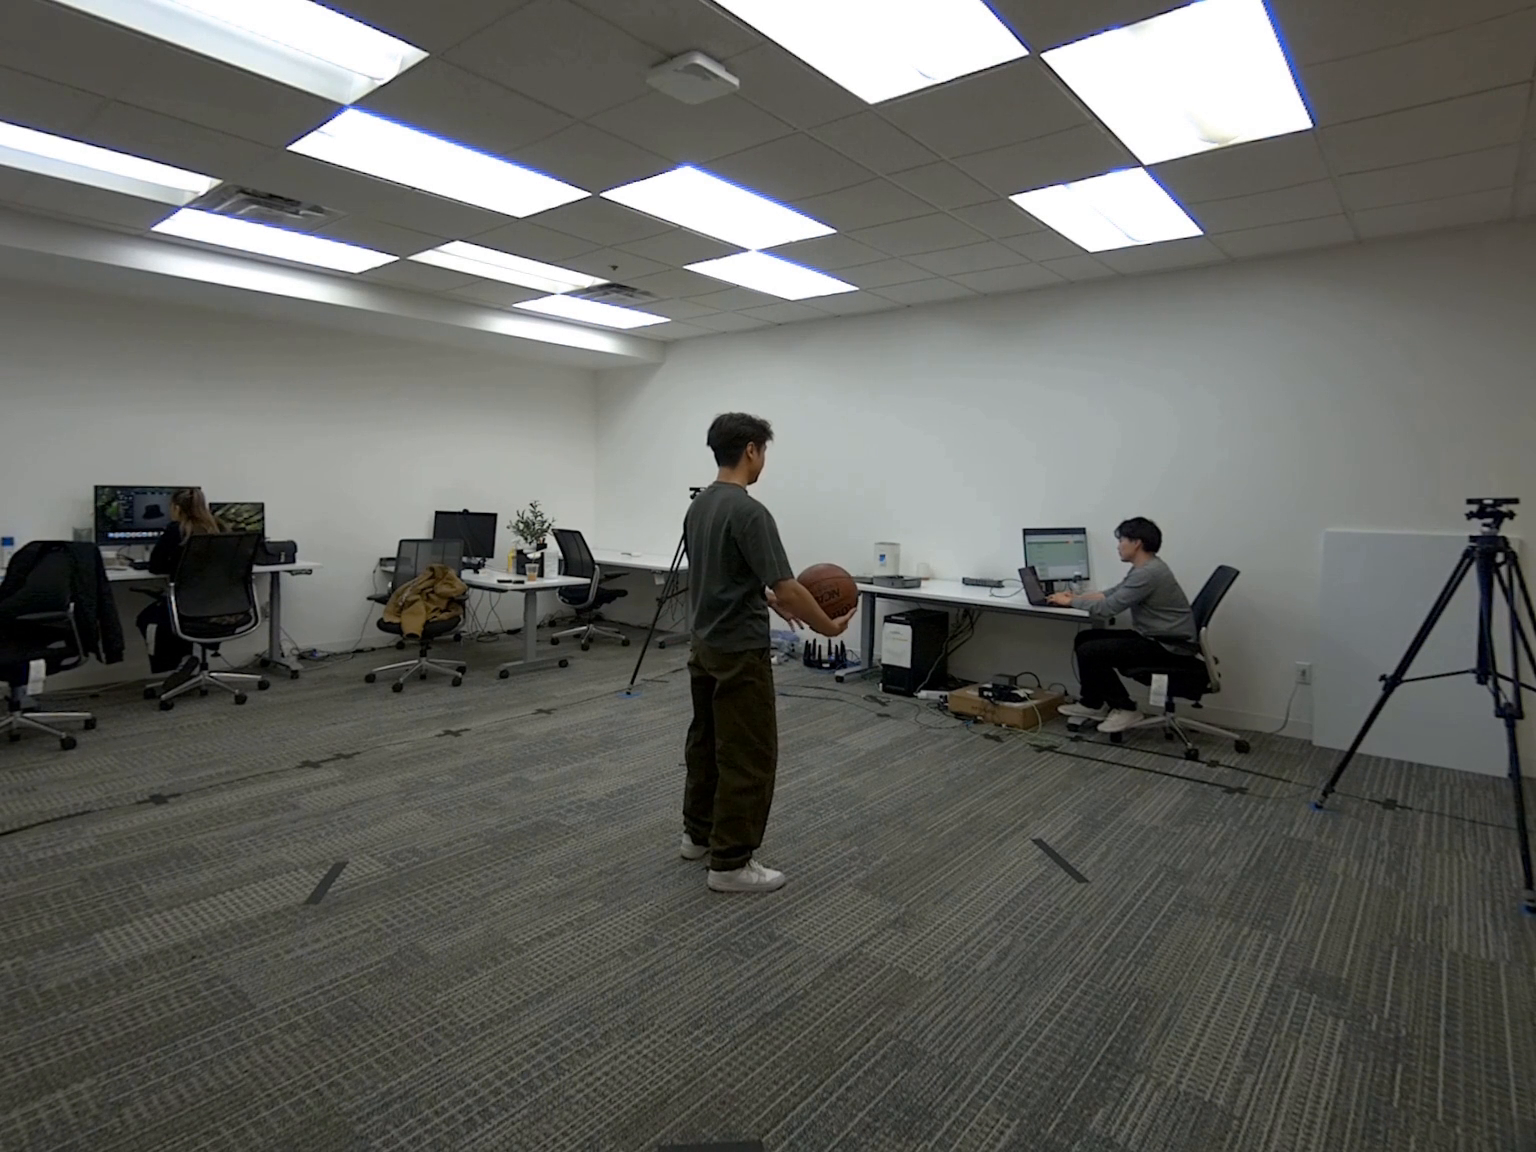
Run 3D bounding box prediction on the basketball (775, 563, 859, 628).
[{"bbox_3d":[0.187,0.073,3.041,0.235,0.235,0.237,1,4,-2],"label":"basketball"}]
